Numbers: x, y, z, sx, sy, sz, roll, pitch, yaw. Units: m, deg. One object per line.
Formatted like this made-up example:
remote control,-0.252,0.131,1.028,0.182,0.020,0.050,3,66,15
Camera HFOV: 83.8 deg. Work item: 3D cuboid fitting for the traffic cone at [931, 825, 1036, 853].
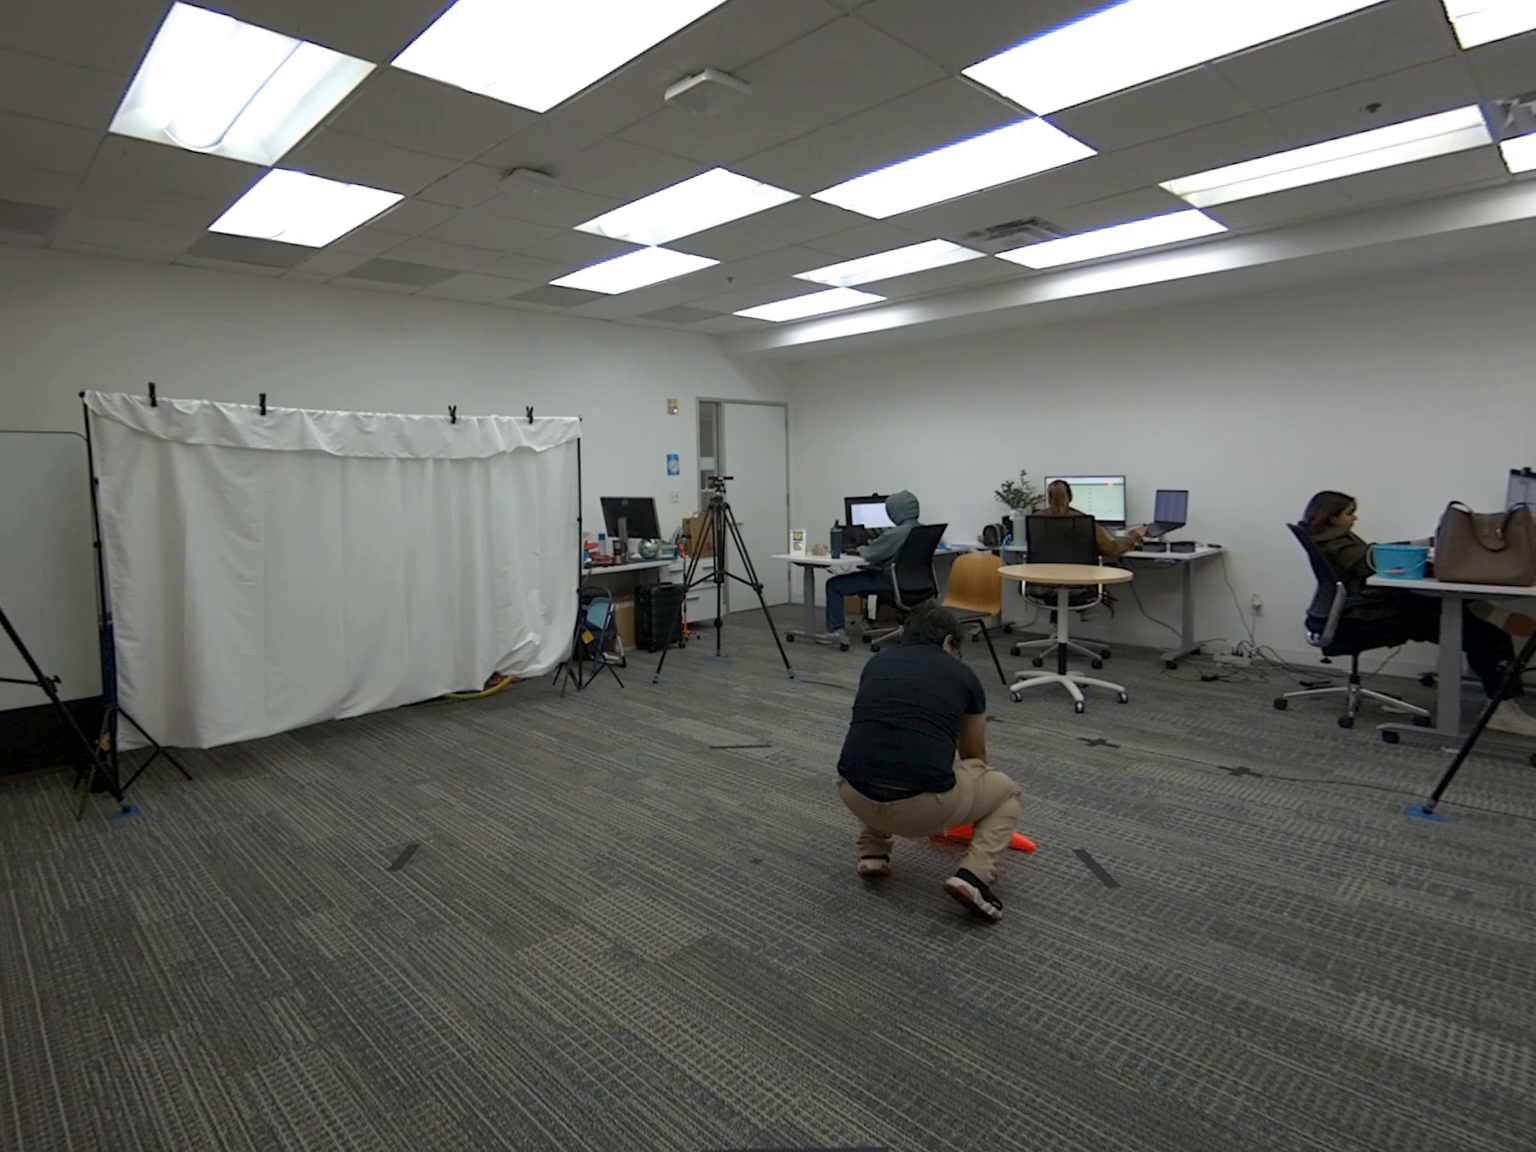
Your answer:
traffic cone,0.833,0.947,3.231,0.392,0.202,0.202,11,9,20
